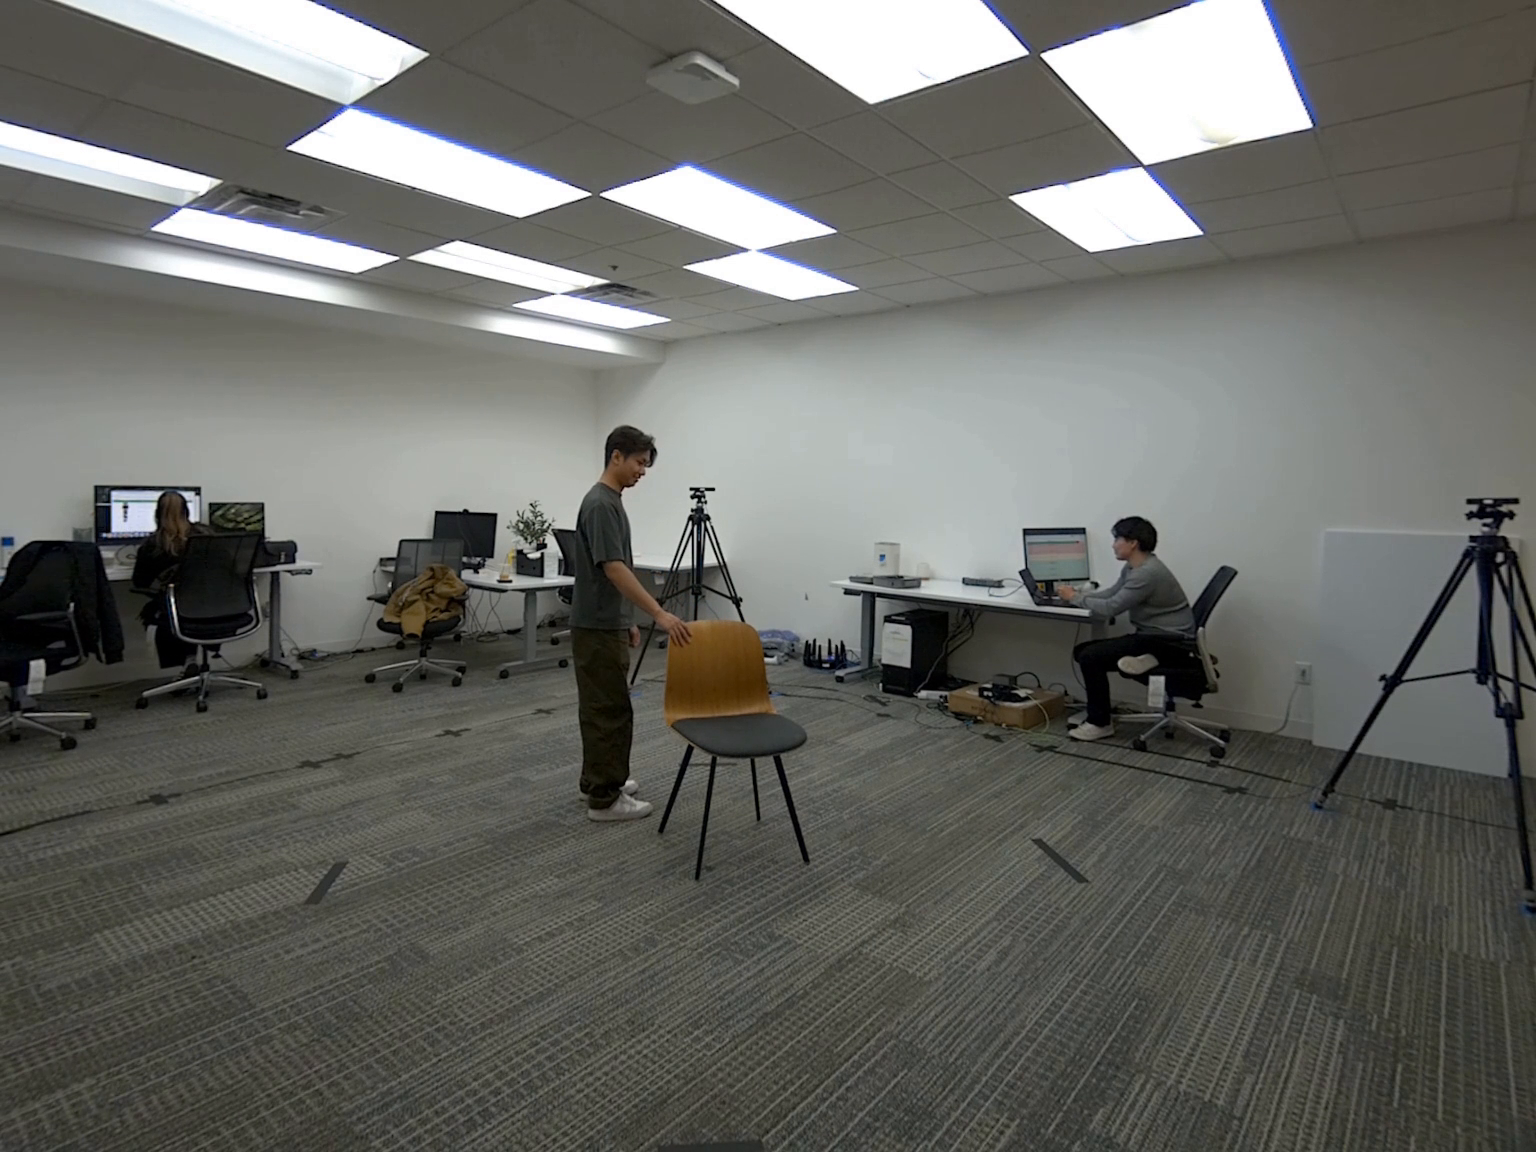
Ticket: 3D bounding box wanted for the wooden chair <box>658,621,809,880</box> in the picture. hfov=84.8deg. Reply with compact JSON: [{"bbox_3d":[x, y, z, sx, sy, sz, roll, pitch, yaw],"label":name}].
[{"bbox_3d":[-0.143,0.625,3.264,0.467,0.878,0.534,0,-1,-23],"label":"wooden chair"}]
